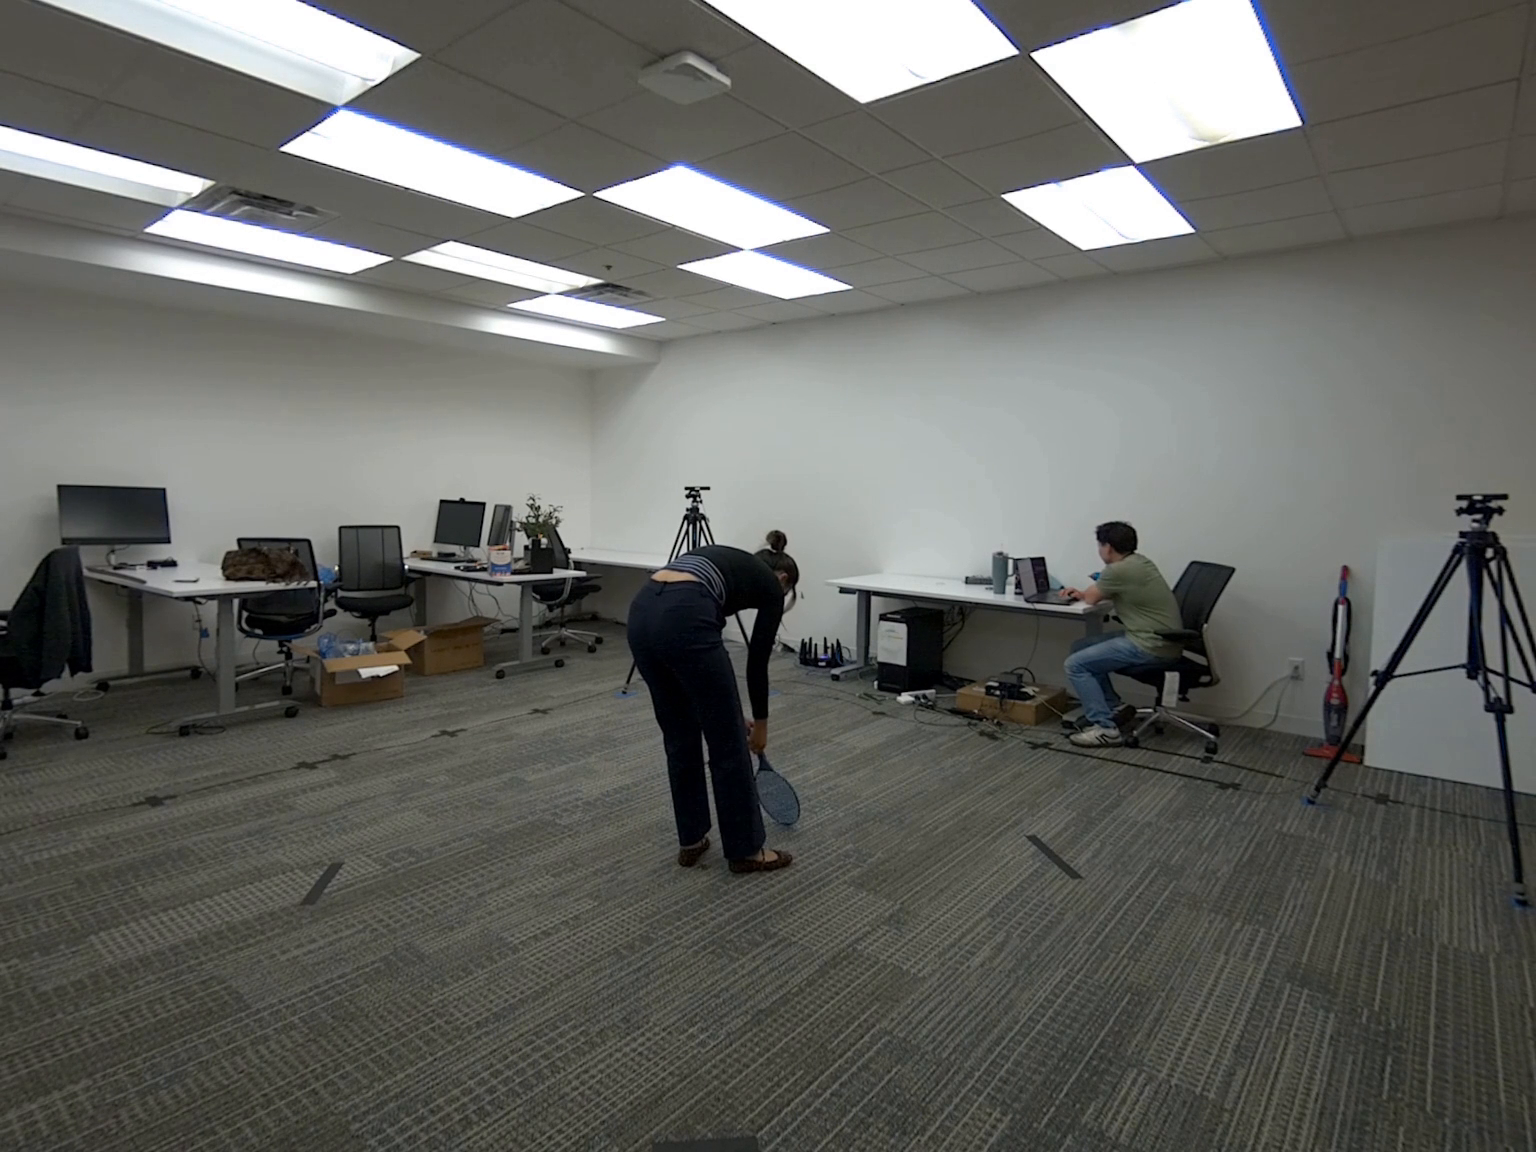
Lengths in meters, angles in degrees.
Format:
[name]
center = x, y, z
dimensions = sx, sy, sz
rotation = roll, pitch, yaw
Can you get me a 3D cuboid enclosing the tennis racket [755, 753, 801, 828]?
[tennis racket]
center = -0.001, 0.827, 3.481
dimensions = 0.219, 0.427, 0.031
rotation = -10, 14, 40
